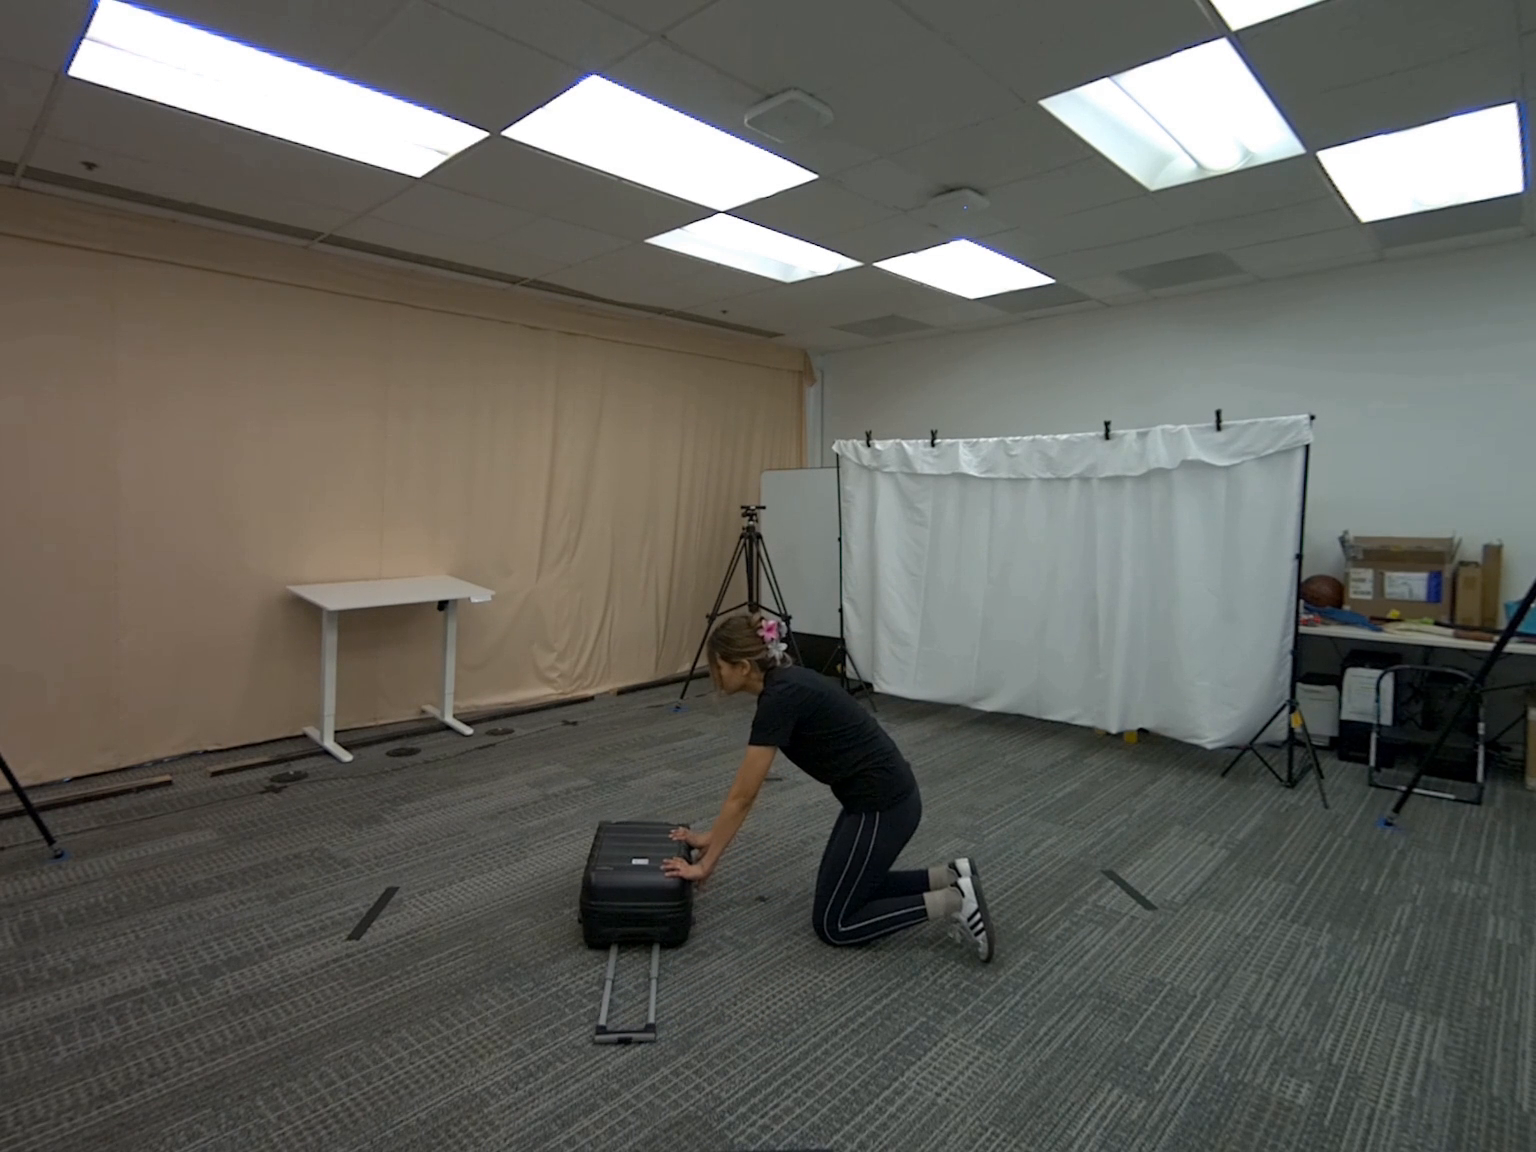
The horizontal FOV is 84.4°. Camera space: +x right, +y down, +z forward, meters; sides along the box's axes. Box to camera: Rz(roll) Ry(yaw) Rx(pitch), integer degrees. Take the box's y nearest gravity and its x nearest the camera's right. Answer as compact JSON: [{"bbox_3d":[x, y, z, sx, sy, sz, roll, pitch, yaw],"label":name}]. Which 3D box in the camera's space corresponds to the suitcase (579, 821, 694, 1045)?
[{"bbox_3d":[-0.423,1.054,2.671,0.383,0.257,0.982,1,3,-4],"label":"suitcase"}]
